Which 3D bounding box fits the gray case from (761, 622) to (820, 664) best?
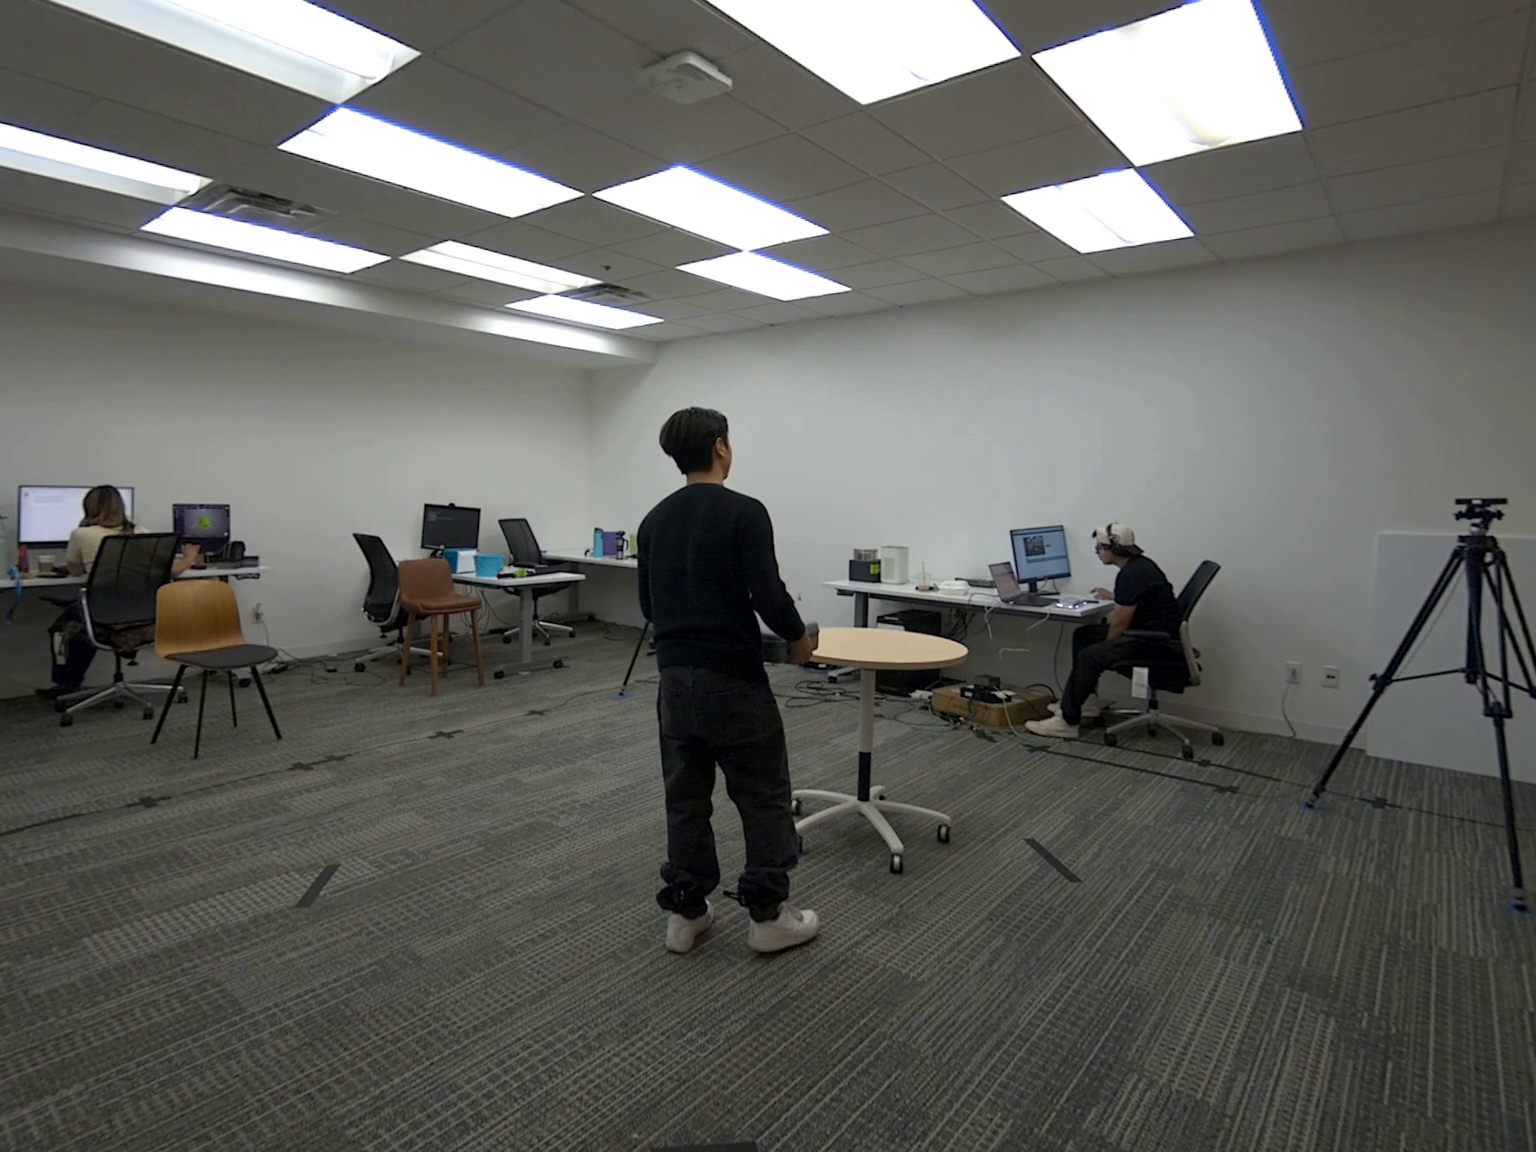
[{"bbox_3d":[0.010,0.211,2.851,0.265,0.104,0.254,3,9,34],"label":"gray case"}]
